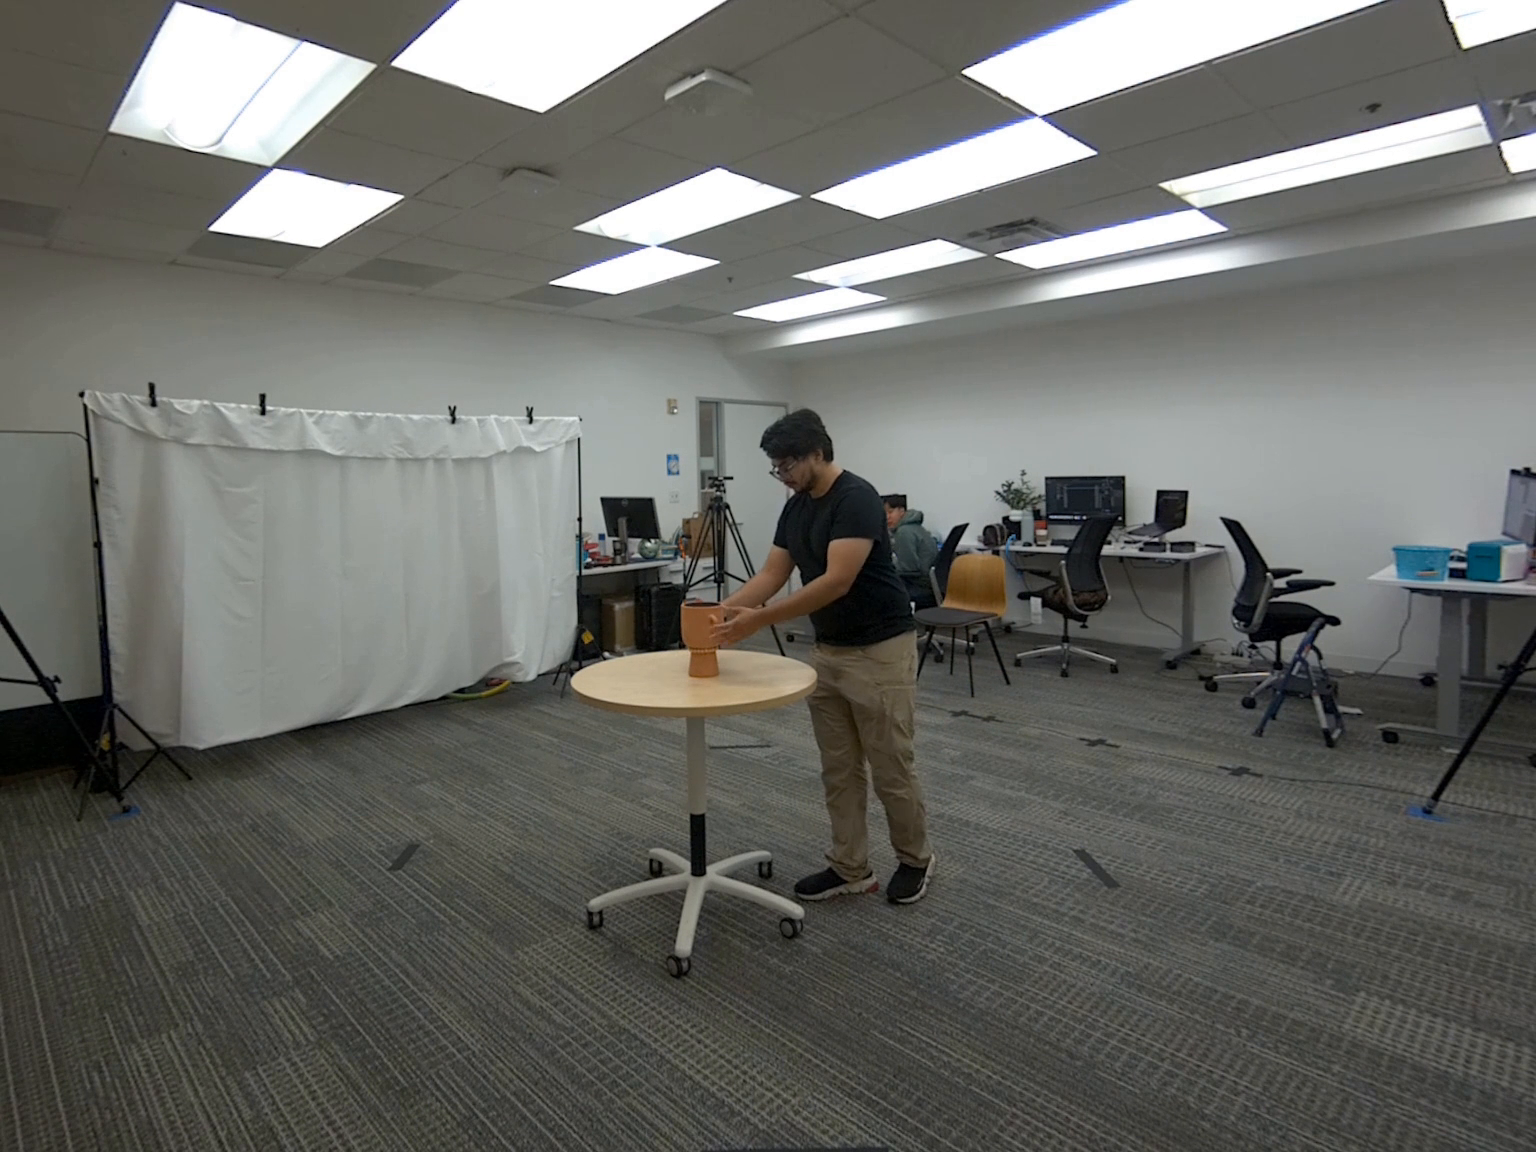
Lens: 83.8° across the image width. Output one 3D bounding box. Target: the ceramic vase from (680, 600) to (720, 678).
[{"bbox_3d":[-0.200,0.201,2.672,0.136,0.219,0.158,0,4,9],"label":"ceramic vase"}]
